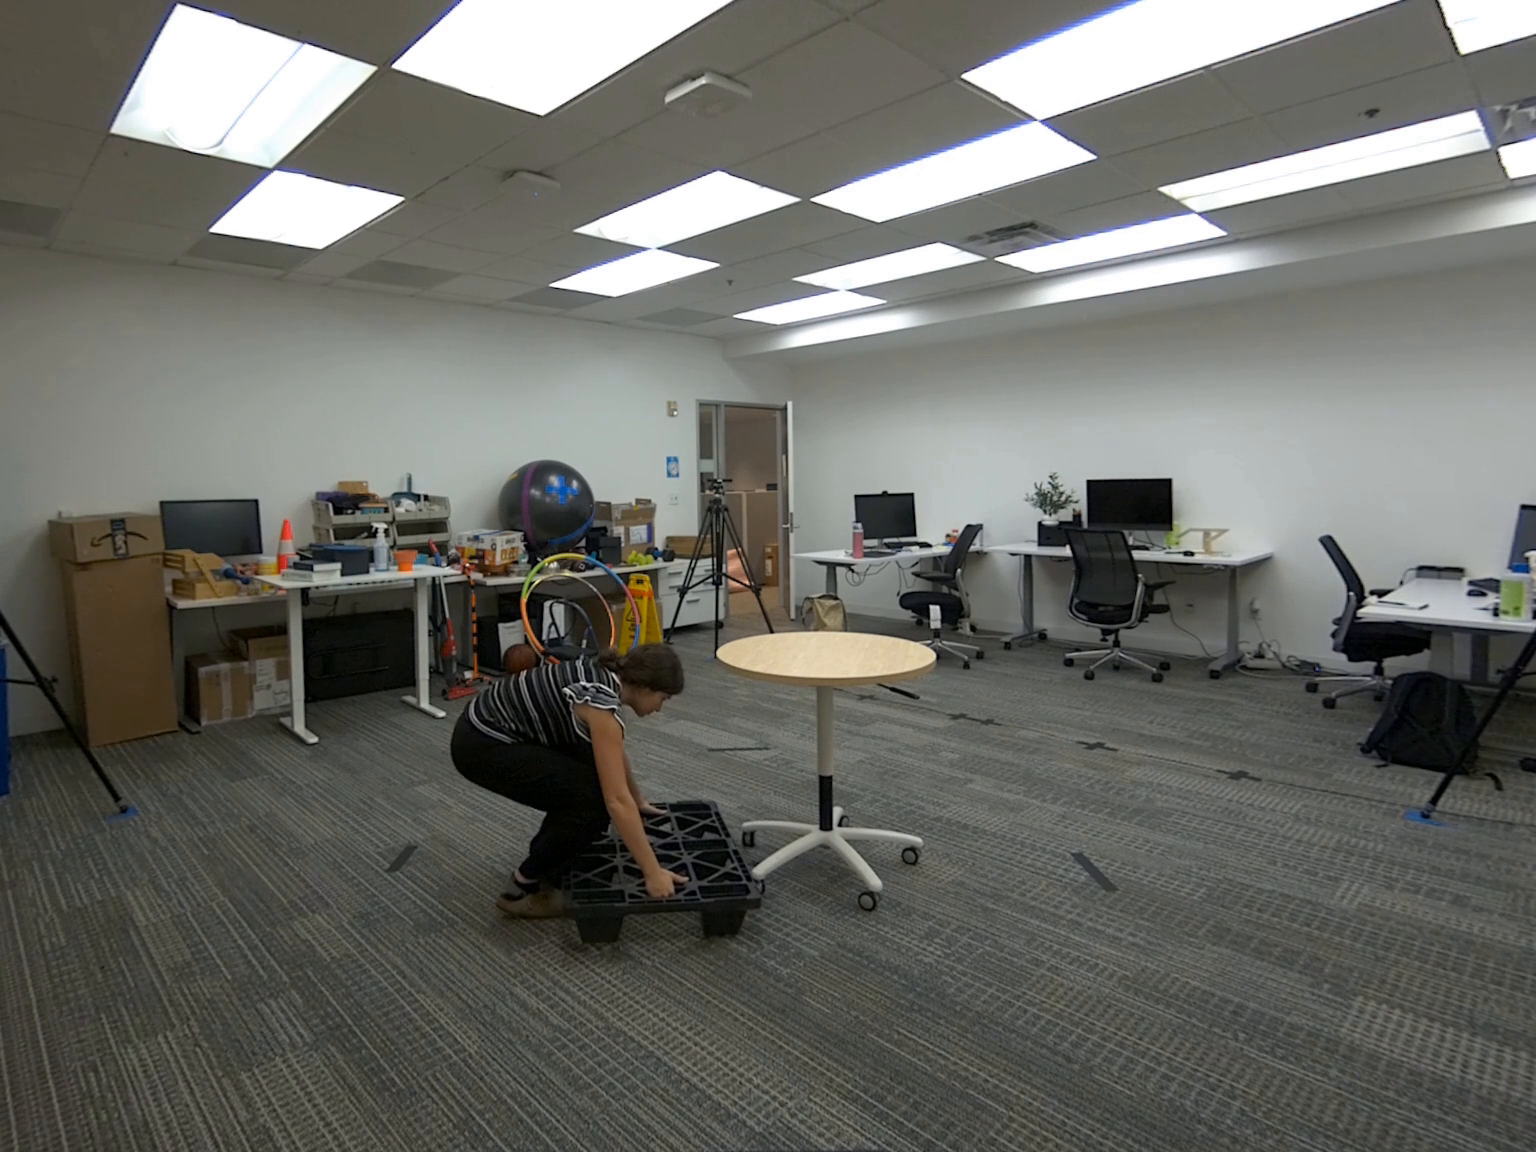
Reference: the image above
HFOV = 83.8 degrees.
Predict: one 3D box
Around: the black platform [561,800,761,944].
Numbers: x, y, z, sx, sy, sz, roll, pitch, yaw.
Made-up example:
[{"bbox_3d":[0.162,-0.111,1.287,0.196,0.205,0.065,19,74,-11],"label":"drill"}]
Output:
[{"bbox_3d":[-0.397,0.986,2.920,0.598,0.143,0.819,1,6,-13],"label":"black platform"}]
